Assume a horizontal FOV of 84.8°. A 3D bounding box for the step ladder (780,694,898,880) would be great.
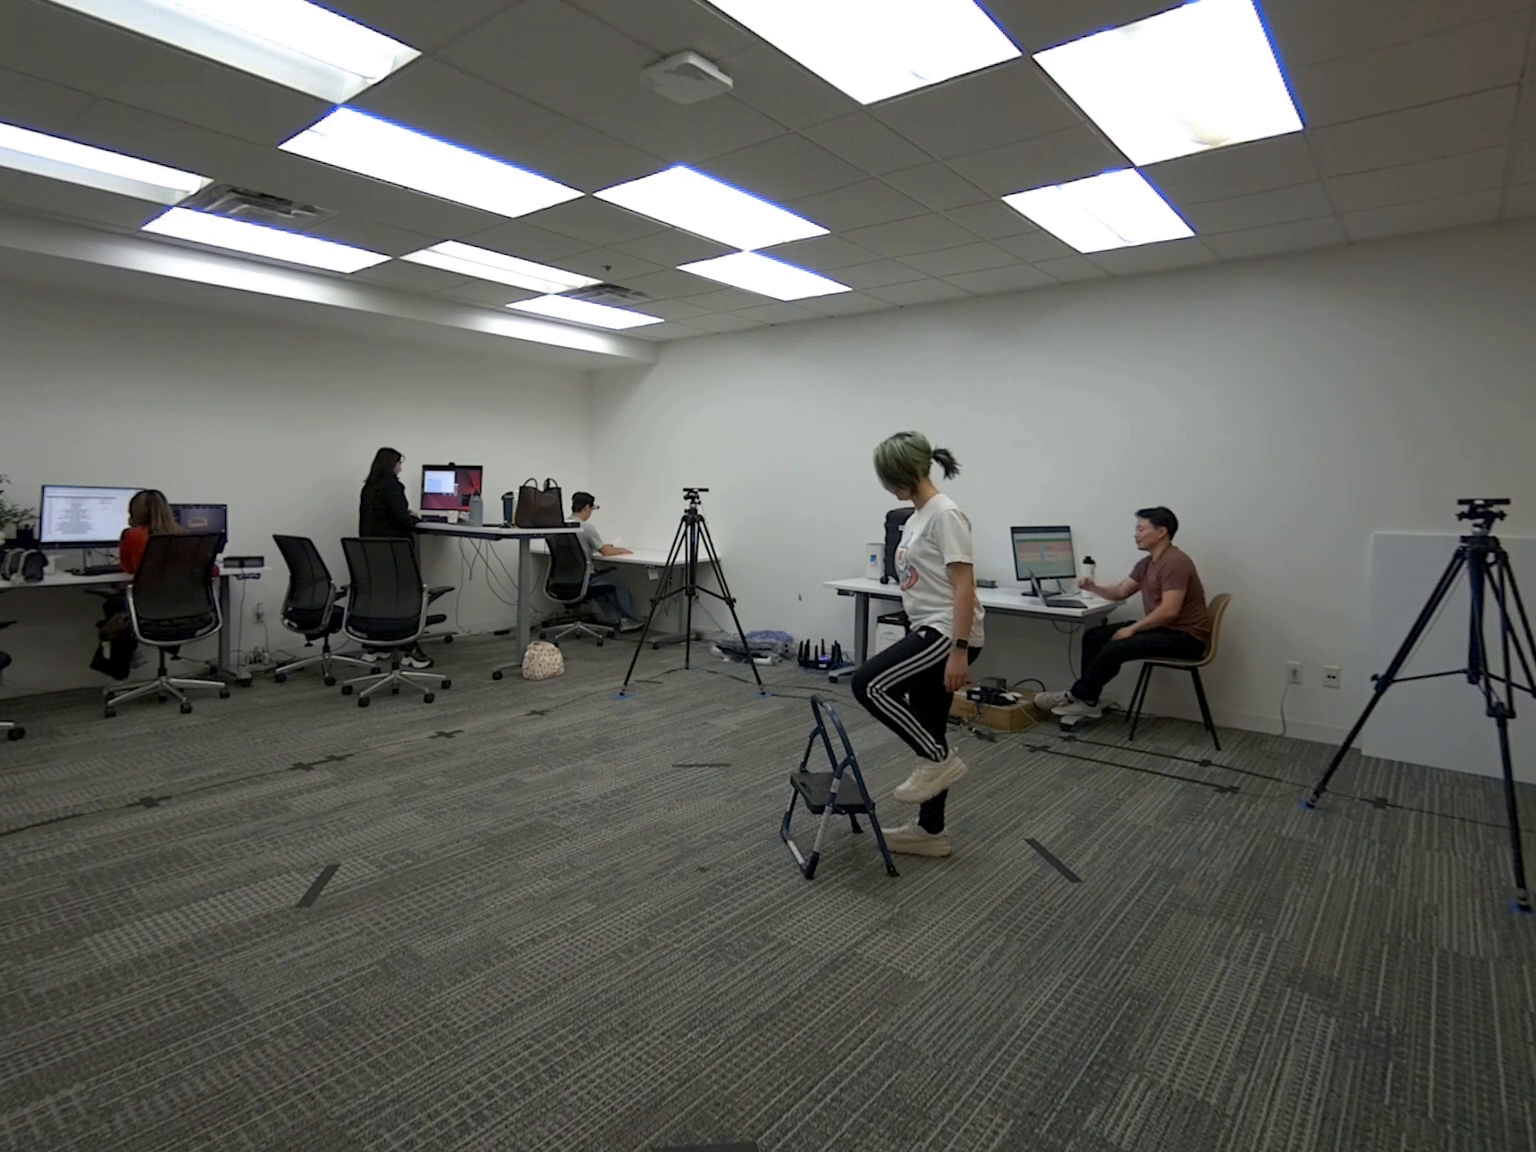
[{"bbox_3d":[0.260,0.766,3.256,0.345,0.604,0.437,1,4,-12],"label":"step ladder"}]
